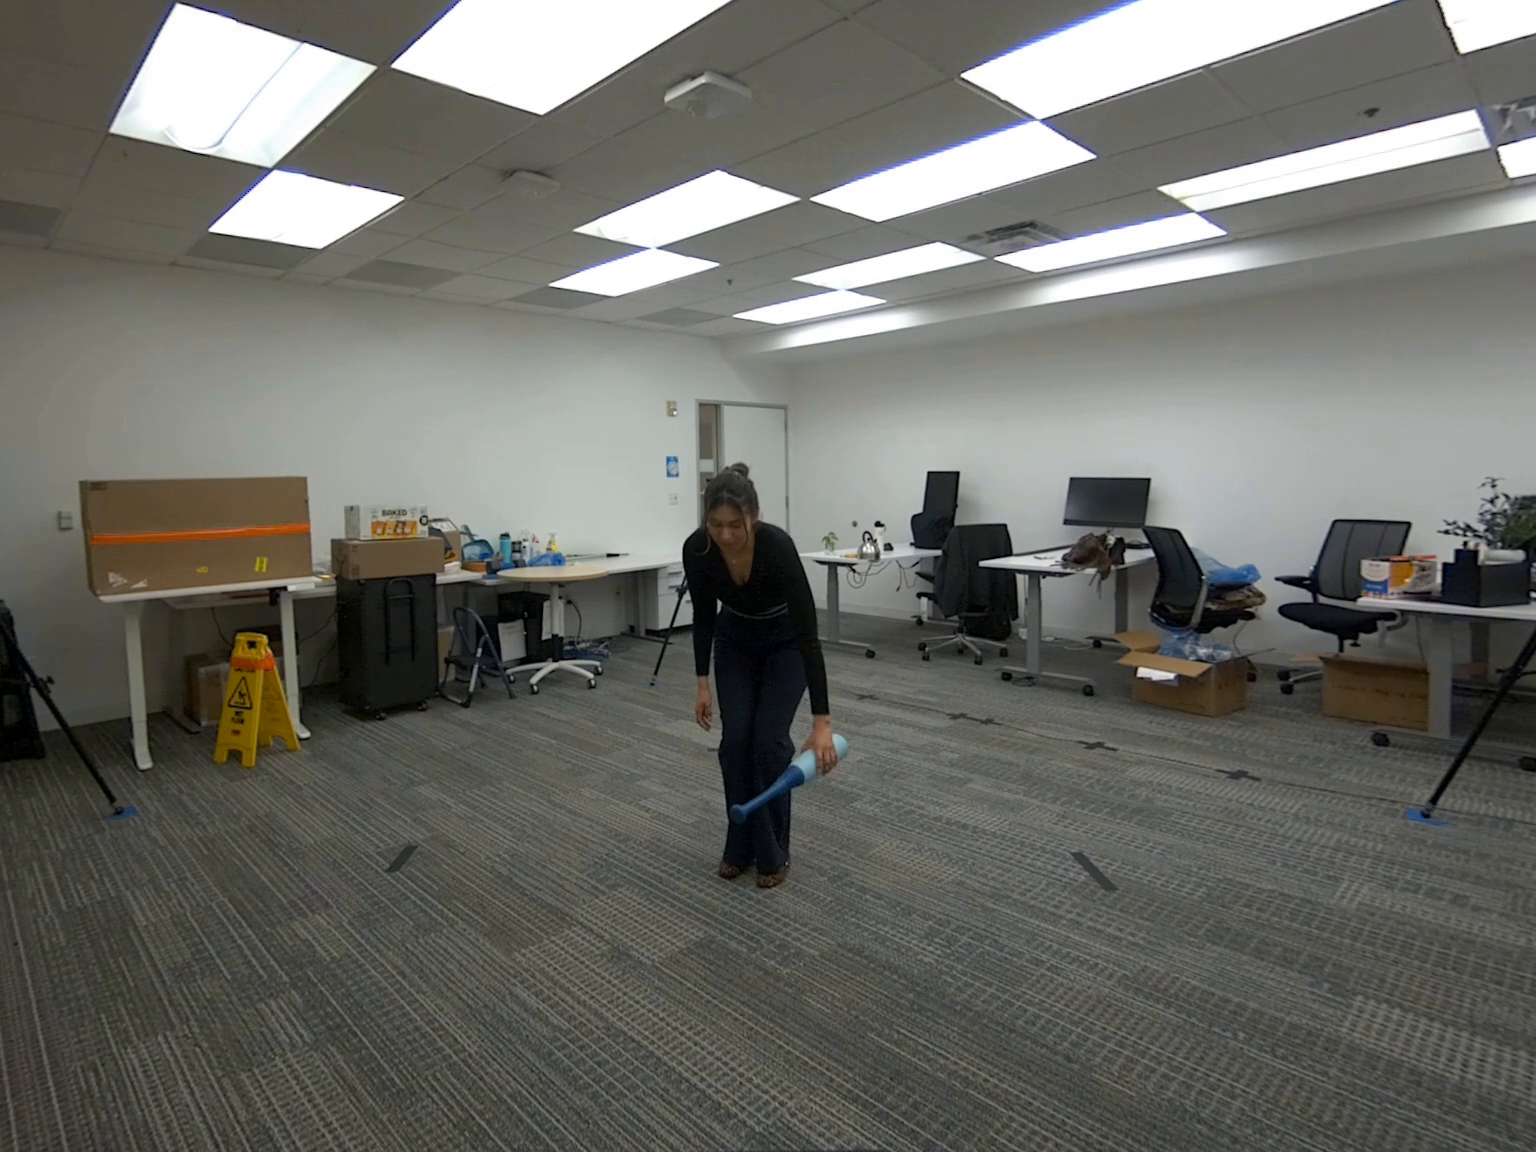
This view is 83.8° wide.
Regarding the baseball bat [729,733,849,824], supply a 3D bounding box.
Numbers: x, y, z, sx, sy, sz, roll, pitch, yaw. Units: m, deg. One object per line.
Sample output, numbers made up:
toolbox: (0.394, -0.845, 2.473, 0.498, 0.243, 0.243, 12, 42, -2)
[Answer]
baseball bat: (0.080, 0.620, 2.593, 0.091, 0.088, 0.533, 3, 14, 37)
